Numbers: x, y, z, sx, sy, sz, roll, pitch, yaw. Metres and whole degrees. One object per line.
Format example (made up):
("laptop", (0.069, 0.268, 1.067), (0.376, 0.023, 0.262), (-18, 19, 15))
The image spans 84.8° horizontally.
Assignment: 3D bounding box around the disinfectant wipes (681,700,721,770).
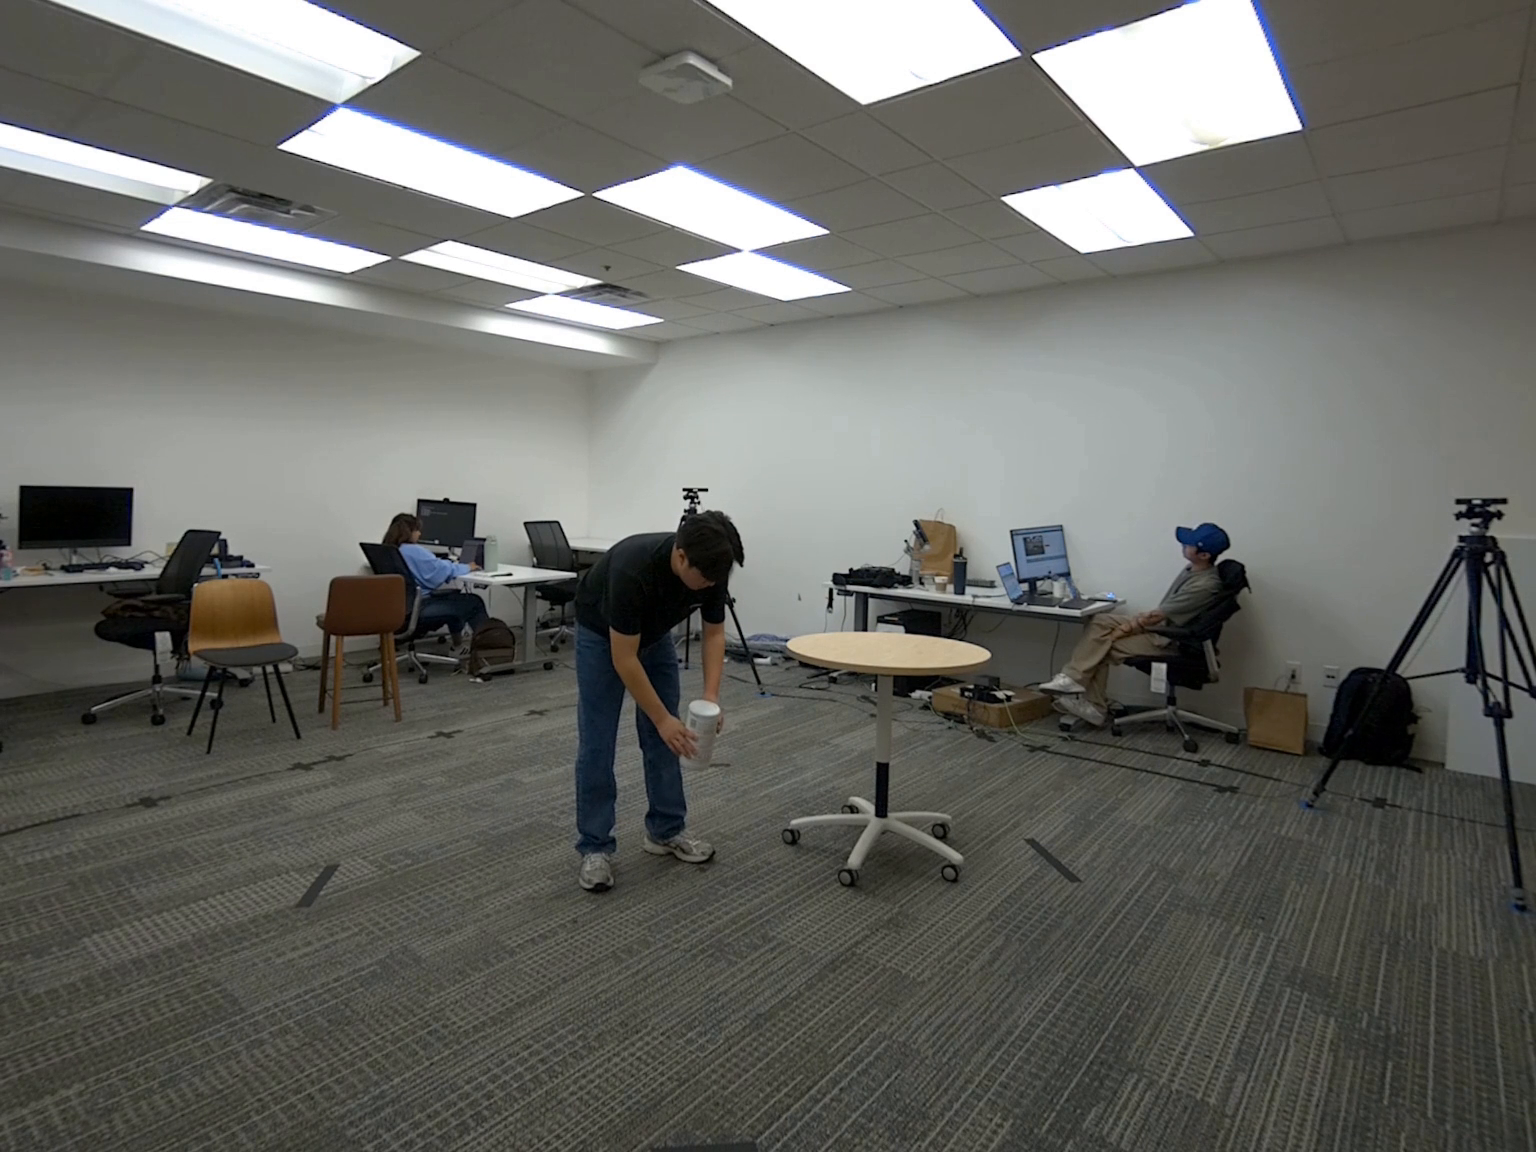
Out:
("disinfectant wipes", (-0.242, 0.542, 2.880), (0.117, 0.215, 0.119), (9, 12, -4))
